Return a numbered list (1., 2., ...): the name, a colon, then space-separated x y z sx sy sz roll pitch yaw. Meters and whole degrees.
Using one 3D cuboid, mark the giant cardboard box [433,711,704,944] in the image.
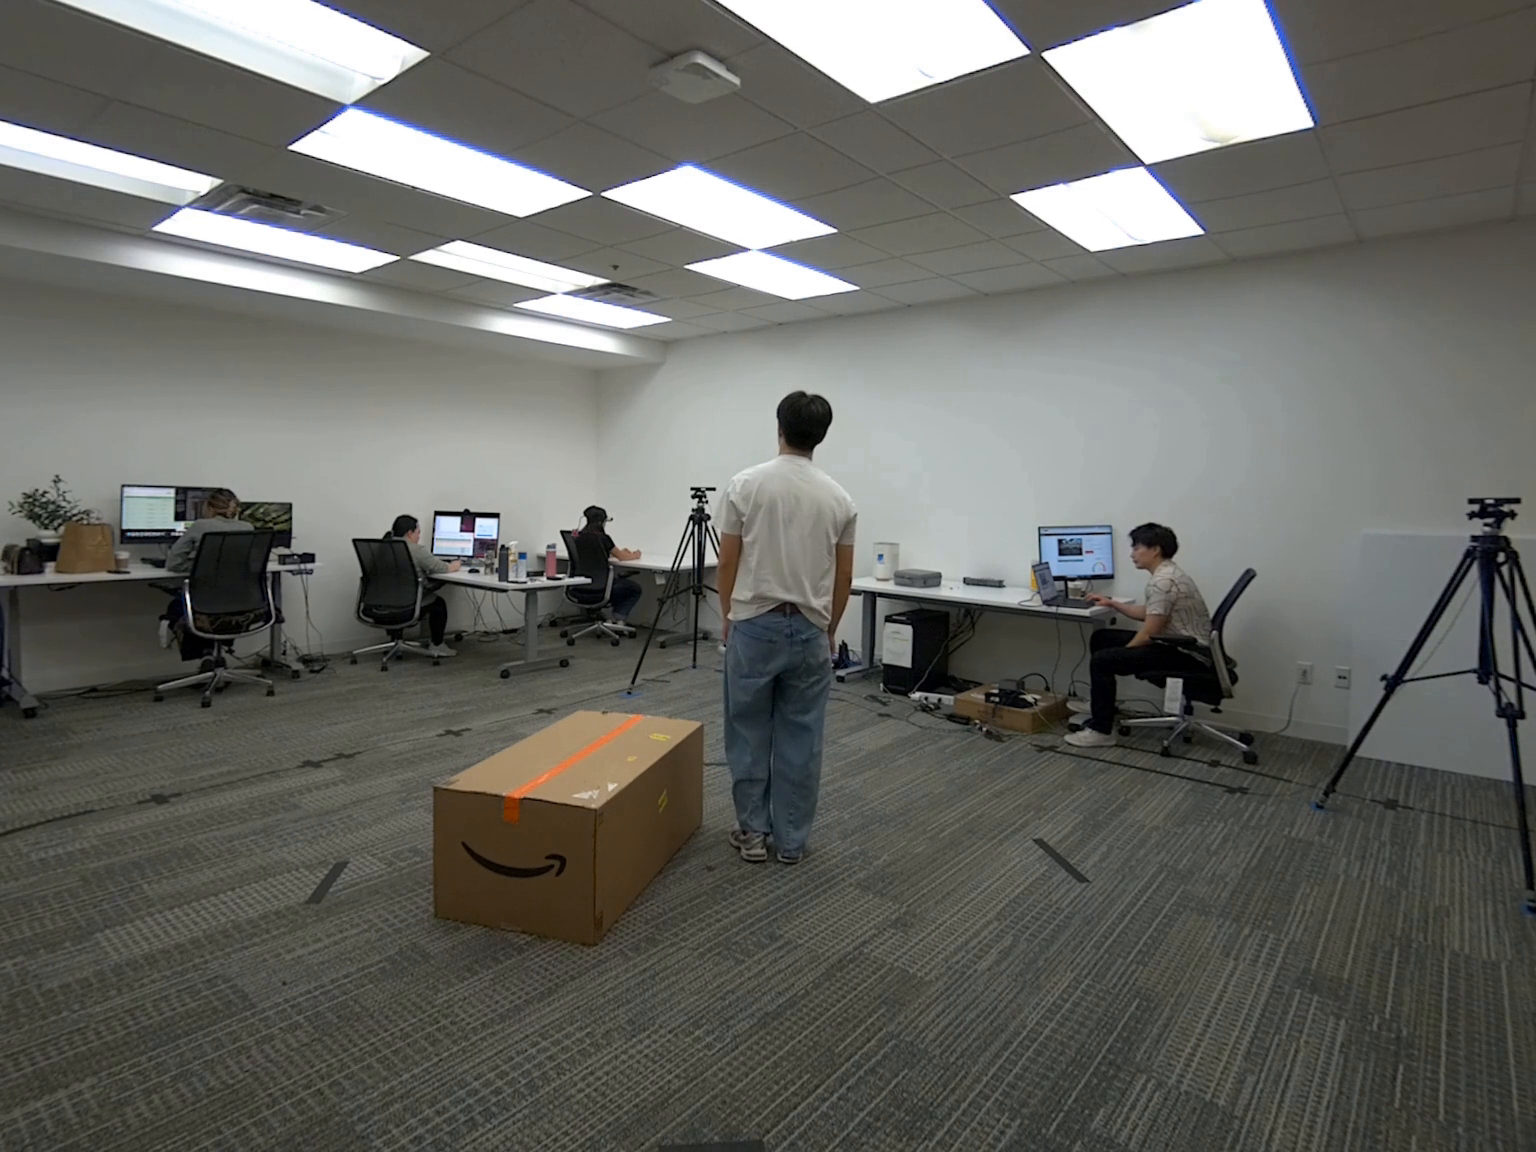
1. giant cardboard box: -0.681 0.841 3.114 0.588 0.424 1.012 3 5 14
